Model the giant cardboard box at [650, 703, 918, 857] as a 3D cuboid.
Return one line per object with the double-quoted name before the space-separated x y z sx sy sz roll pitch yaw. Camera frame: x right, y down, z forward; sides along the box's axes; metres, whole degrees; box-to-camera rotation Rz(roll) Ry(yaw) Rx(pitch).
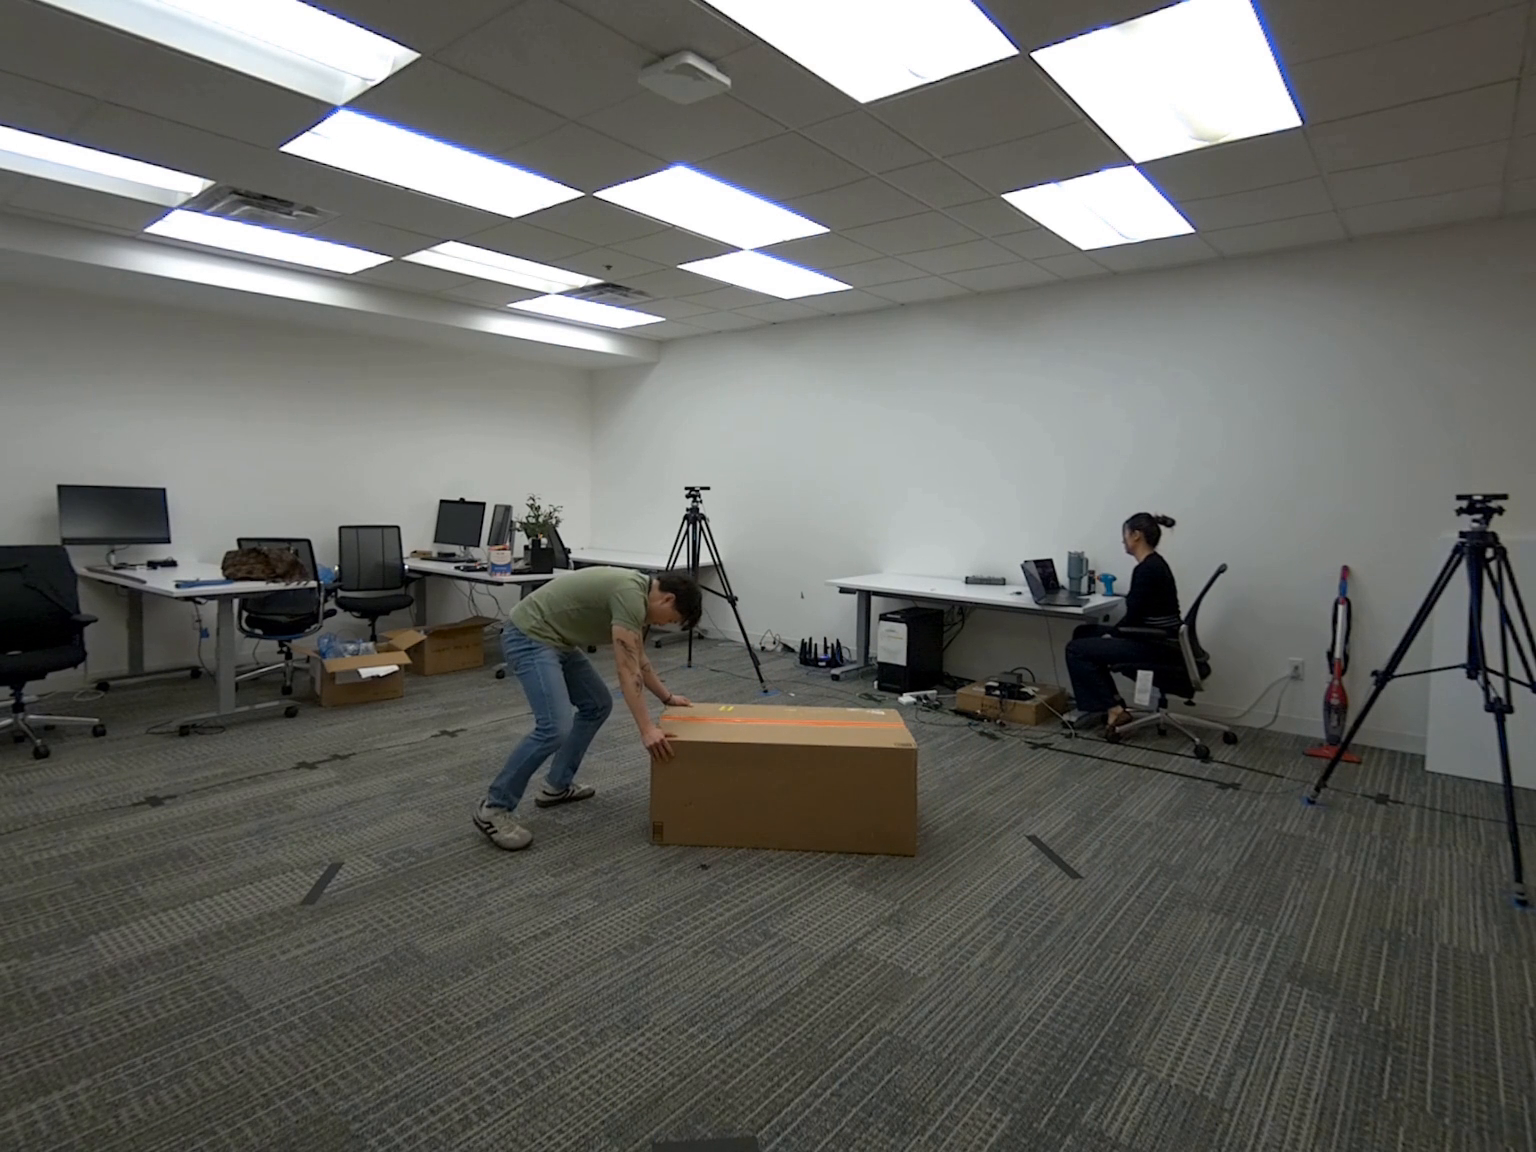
"giant cardboard box" 0.056 0.816 3.543 1.030 0.425 0.577 1 4 3
